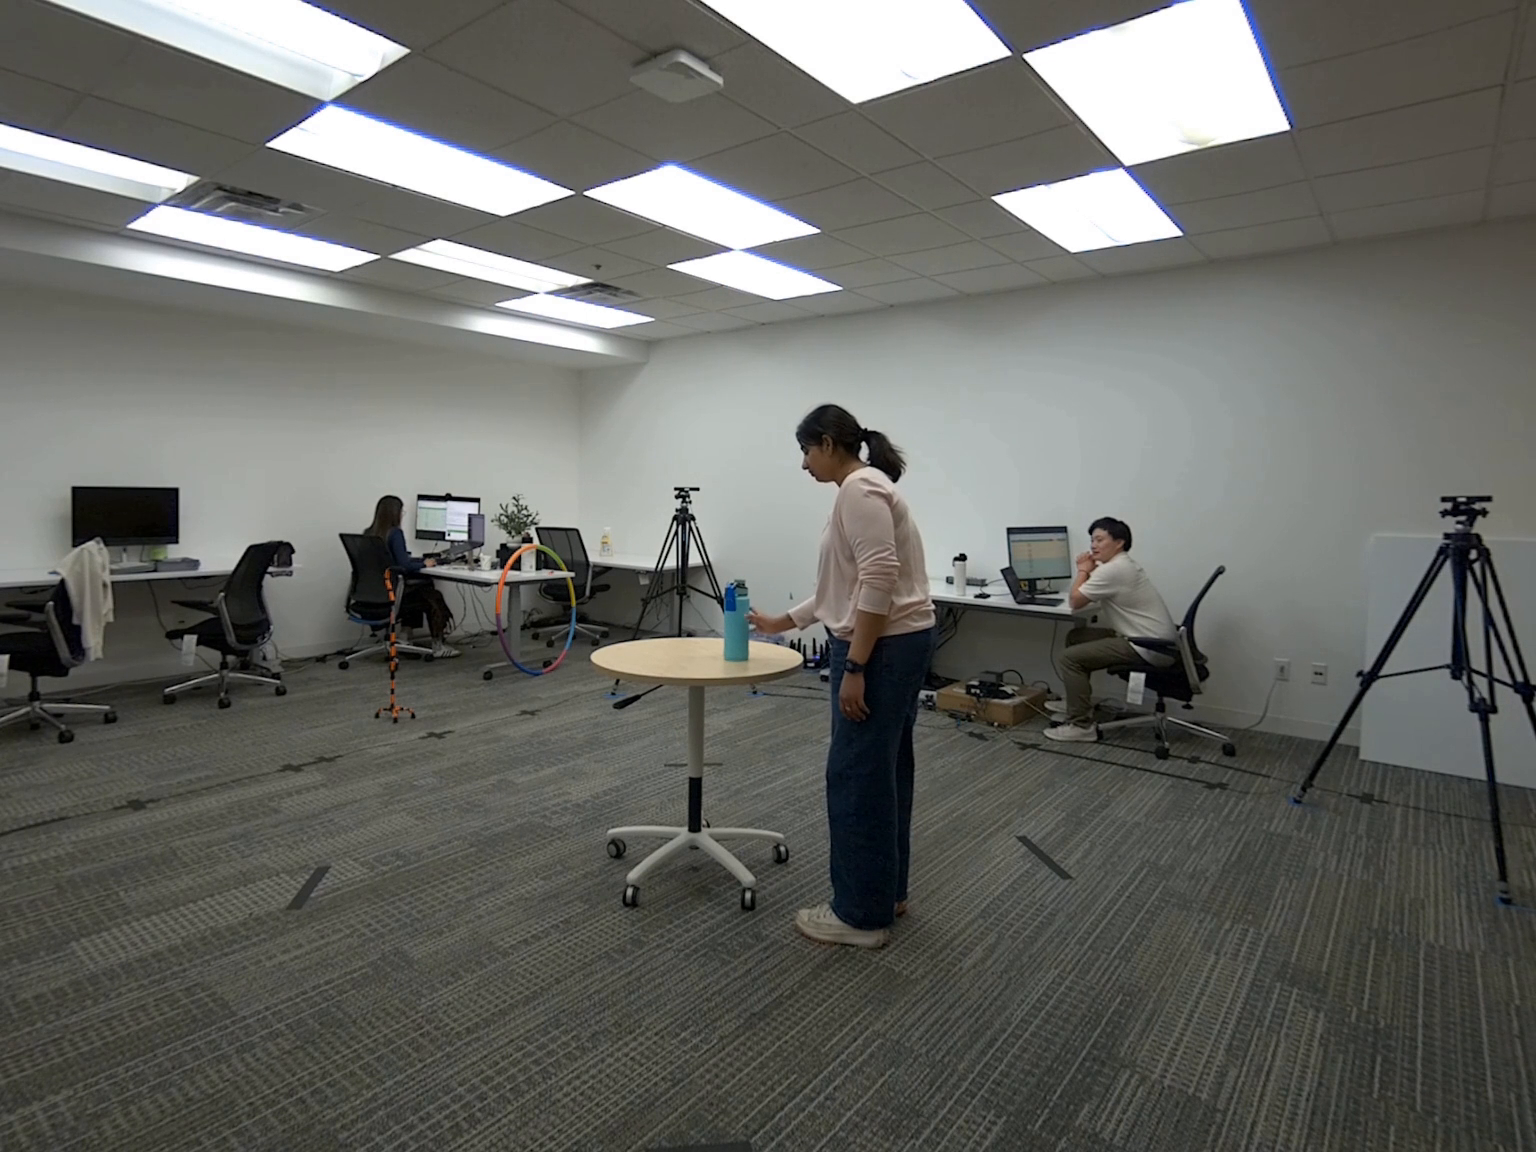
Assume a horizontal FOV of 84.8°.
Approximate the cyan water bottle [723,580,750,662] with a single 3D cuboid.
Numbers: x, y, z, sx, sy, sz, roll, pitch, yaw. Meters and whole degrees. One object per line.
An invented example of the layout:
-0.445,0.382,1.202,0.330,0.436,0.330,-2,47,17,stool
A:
-0.127,0.154,3.010,0.092,0.282,0.093,-2,3,-2,cyan water bottle
